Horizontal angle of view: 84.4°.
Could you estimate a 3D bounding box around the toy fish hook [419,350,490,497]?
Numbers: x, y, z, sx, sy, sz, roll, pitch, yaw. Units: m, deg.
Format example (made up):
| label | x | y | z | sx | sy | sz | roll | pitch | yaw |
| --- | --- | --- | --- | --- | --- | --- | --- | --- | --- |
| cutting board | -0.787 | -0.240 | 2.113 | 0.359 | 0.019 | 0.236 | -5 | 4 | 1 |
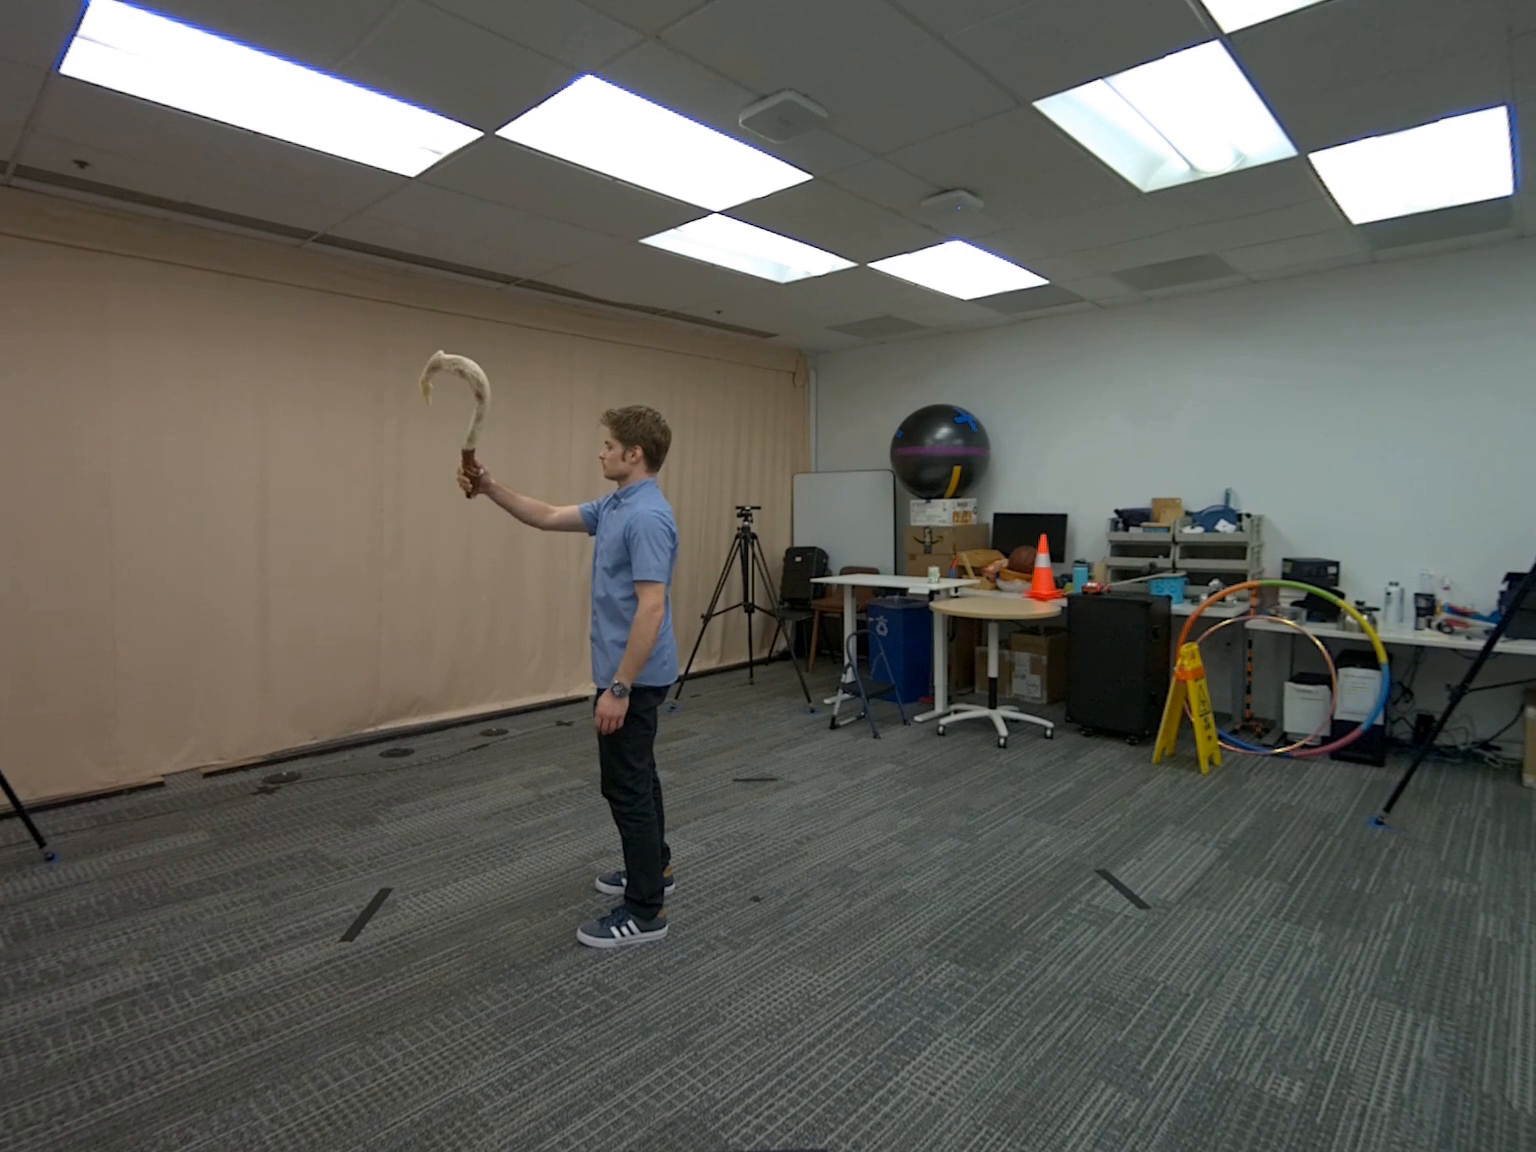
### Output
| label | x | y | z | sx | sy | sz | roll | pitch | yaw |
| --- | --- | --- | --- | --- | --- | --- | --- | --- | --- |
| toy fish hook | -1.000 | -0.442 | 2.607 | 0.226 | 0.502 | 0.048 | 20 | 38 | 5 |
